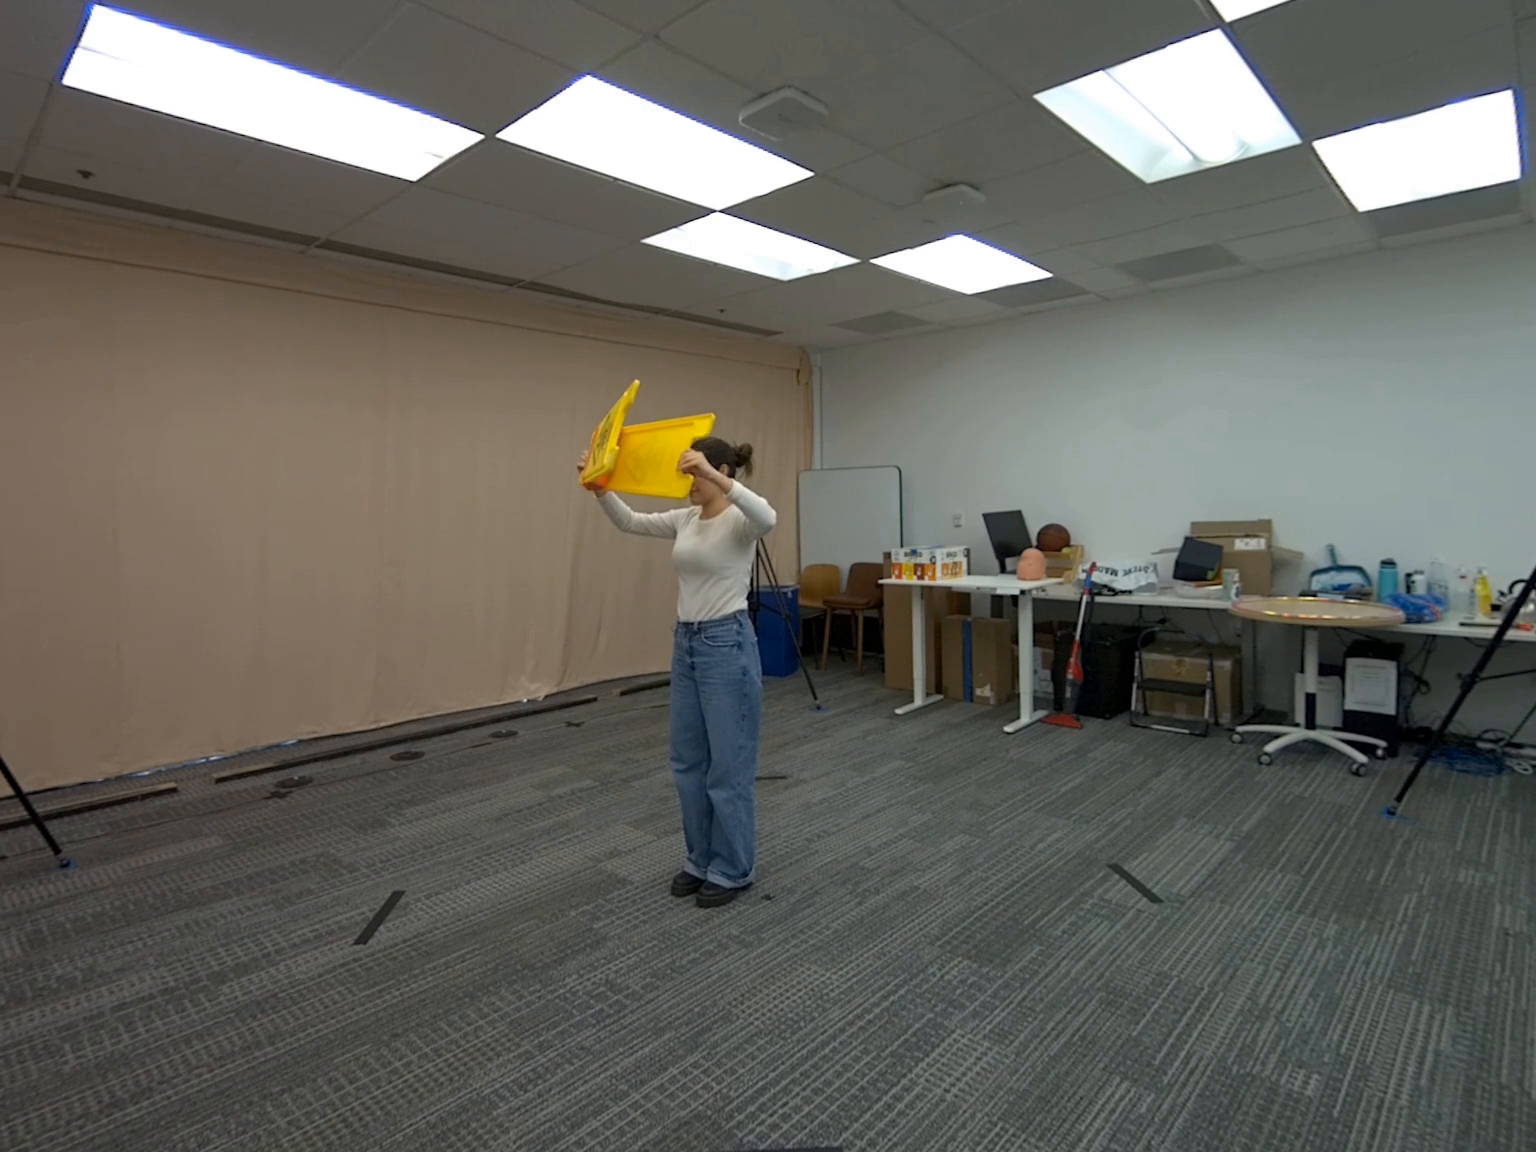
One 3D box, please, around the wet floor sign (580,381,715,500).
[{"bbox_3d":[-0.477,-0.400,2.739,0.281,0.283,0.664,19,-8,-30],"label":"wet floor sign"}]
